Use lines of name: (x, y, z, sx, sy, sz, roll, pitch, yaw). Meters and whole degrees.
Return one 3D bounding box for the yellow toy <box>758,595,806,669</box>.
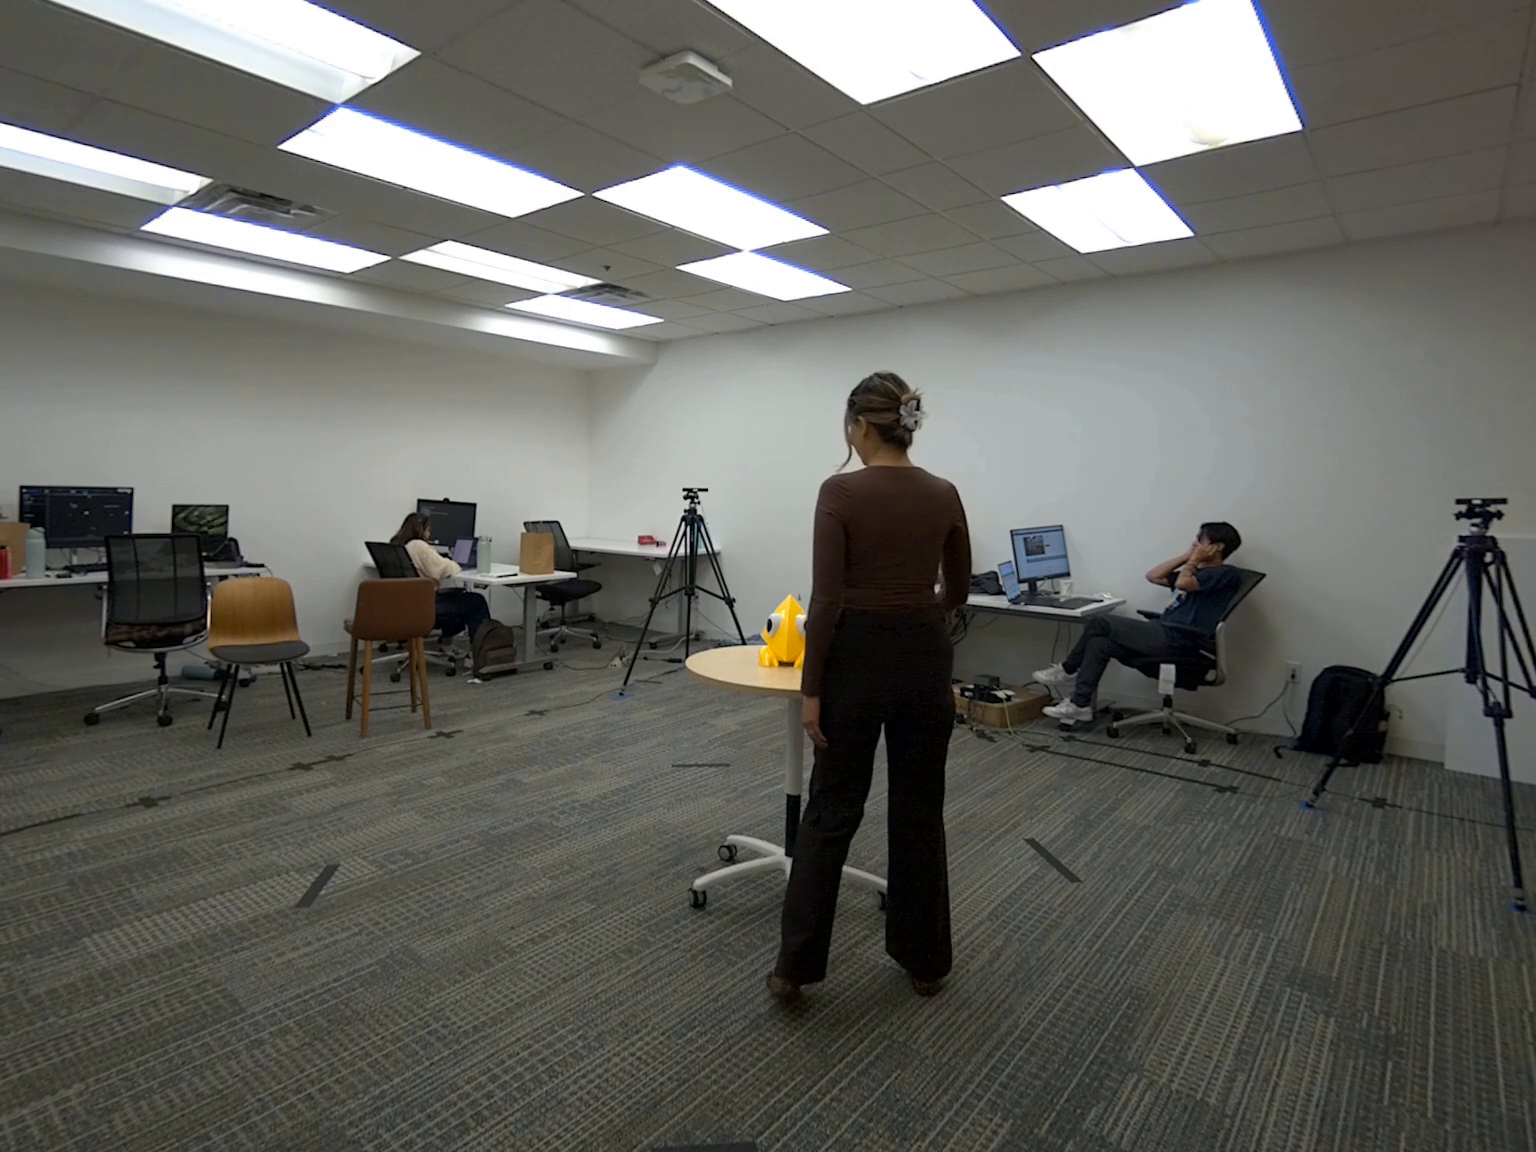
yellow toy: (0.063, 0.181, 2.912, 0.206, 0.230, 0.192, 2, 3, 5)
